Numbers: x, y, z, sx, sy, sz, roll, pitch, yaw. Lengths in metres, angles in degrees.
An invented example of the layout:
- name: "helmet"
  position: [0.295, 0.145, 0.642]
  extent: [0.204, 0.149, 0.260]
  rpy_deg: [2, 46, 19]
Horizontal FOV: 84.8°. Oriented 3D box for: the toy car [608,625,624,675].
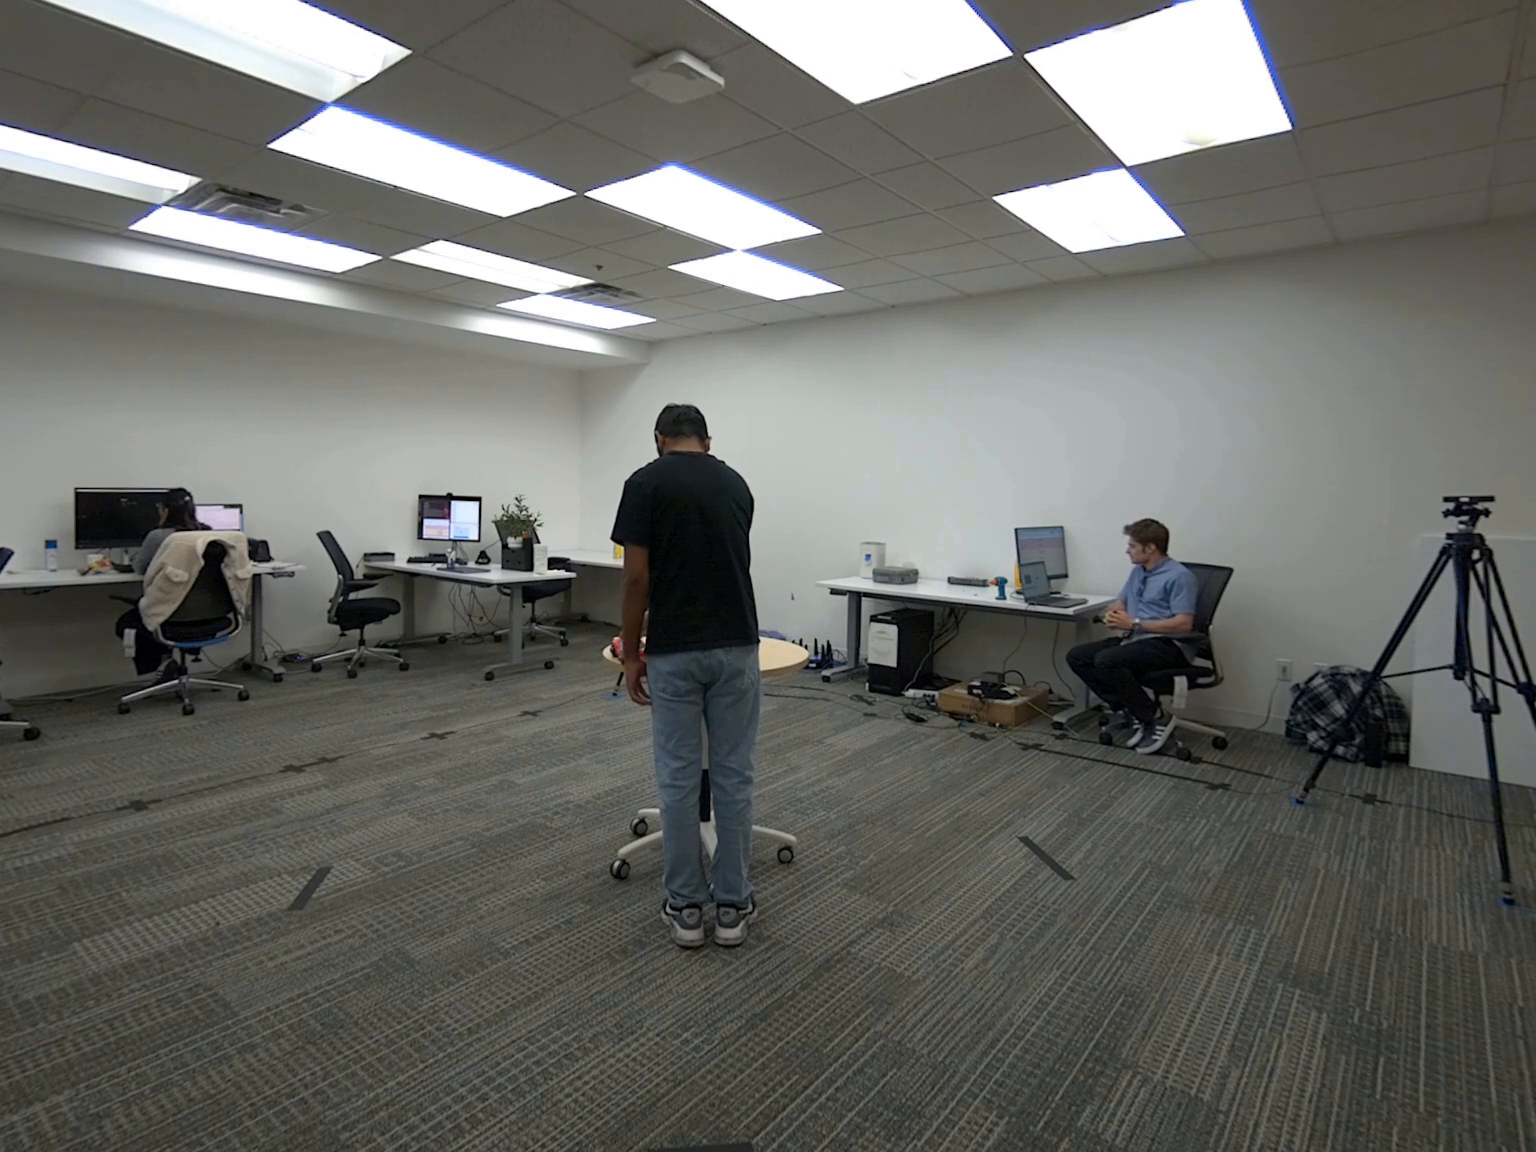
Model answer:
- name: "toy car"
  position: [-0.490, 0.259, 3.024]
  extent: [0.128, 0.082, 0.263]
  rpy_deg: [-1, 18, -19]
